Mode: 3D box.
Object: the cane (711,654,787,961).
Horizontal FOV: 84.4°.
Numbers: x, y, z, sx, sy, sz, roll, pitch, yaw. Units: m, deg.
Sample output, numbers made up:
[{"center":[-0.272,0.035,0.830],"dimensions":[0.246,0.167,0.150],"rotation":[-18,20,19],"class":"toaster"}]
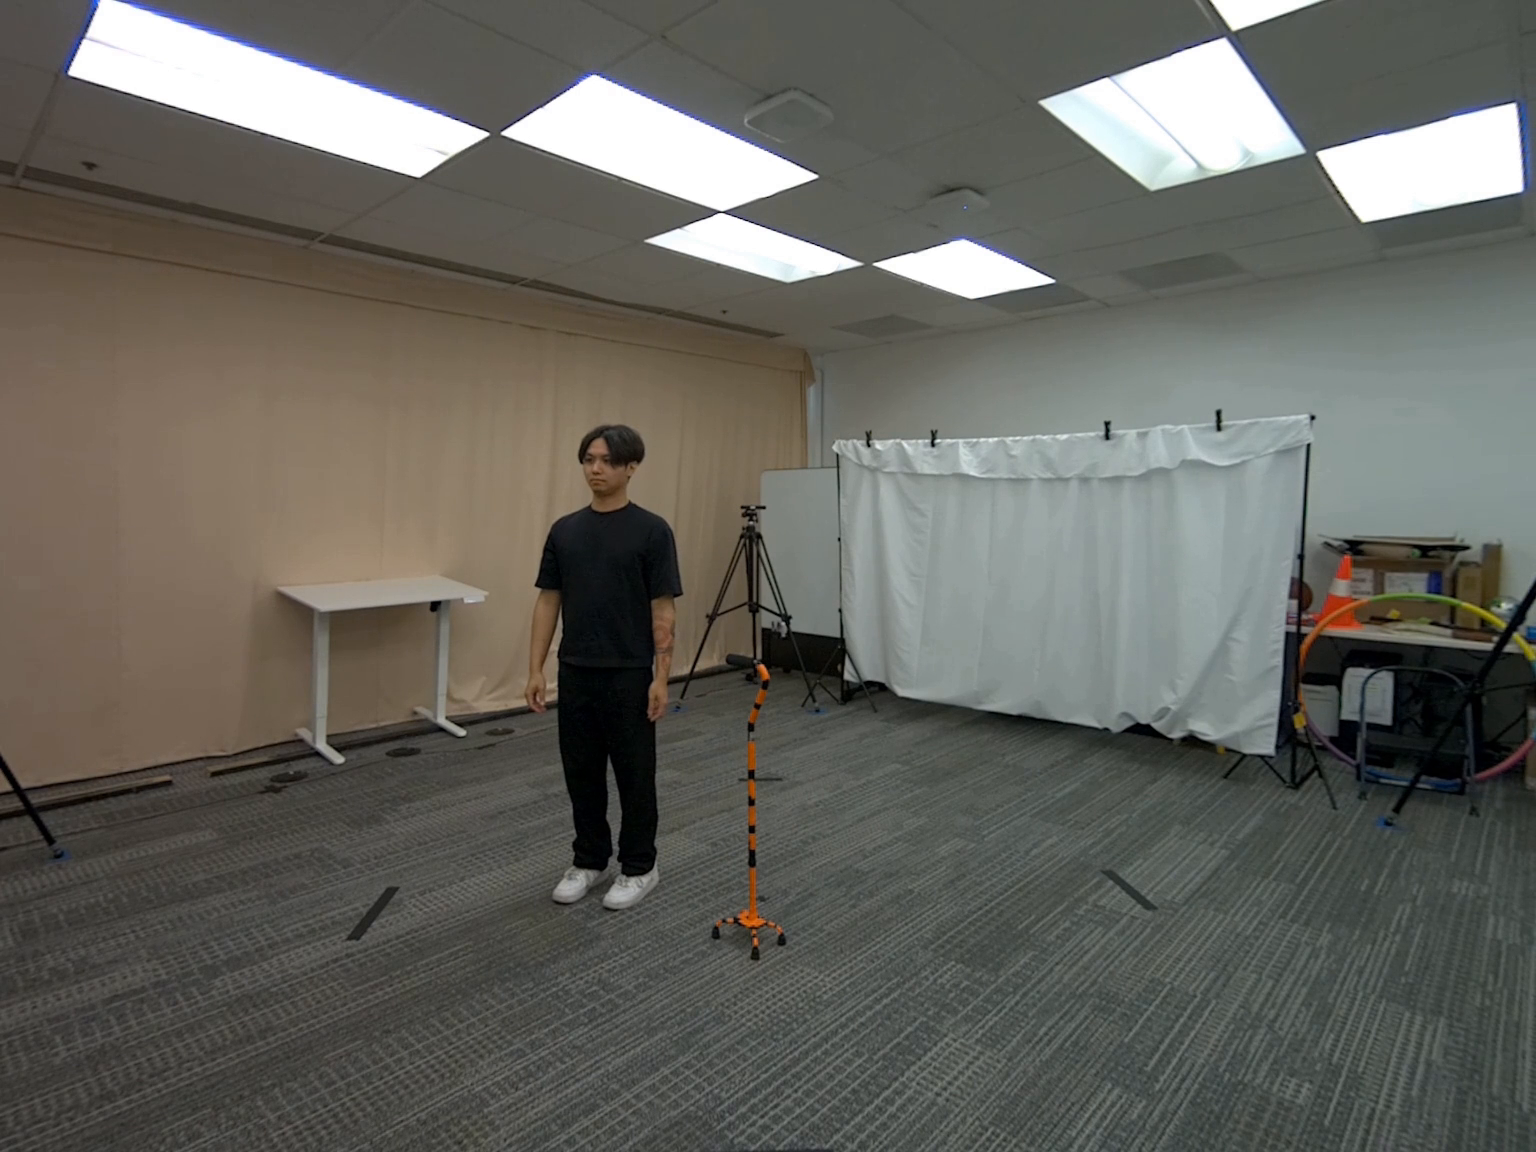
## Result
[{"center":[-0.057,0.718,2.672],"dimensions":[0.213,0.906,0.147],"rotation":[3,4,43],"class":"cane"}]
